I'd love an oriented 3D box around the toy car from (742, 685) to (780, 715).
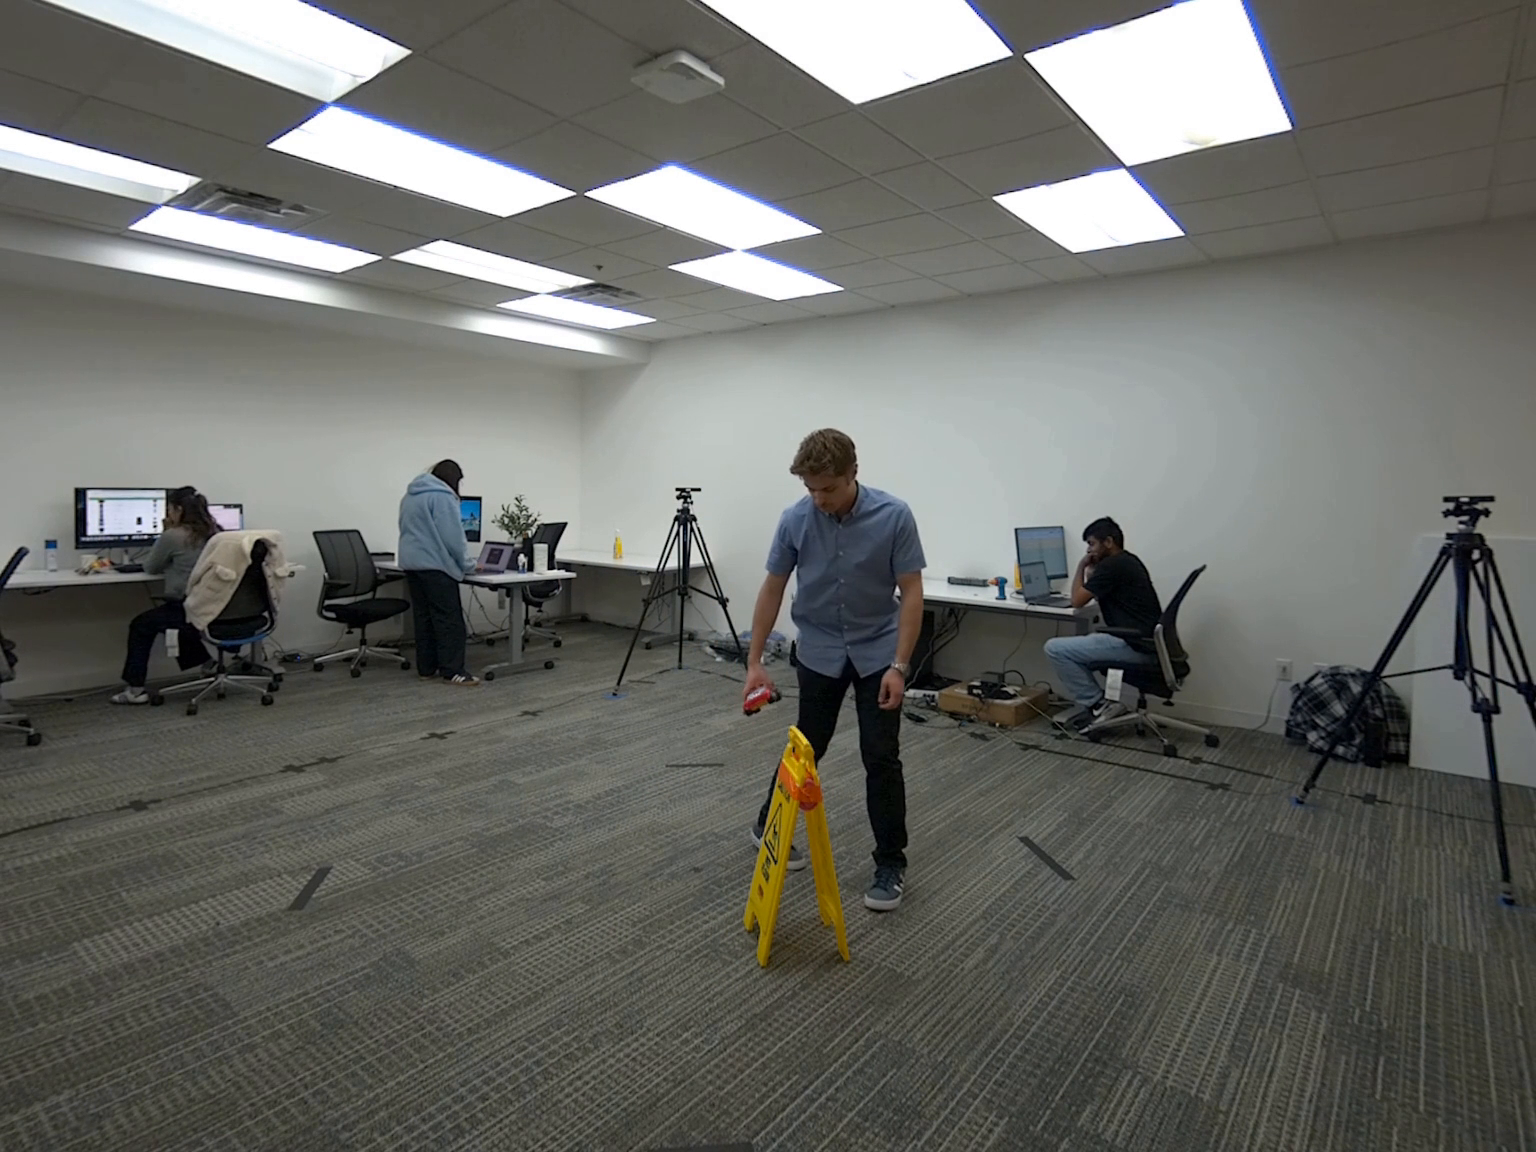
[{"bbox_3d":[-0.017,0.439,3.029,0.130,0.083,0.254,-32,3,4],"label":"toy car"}]
